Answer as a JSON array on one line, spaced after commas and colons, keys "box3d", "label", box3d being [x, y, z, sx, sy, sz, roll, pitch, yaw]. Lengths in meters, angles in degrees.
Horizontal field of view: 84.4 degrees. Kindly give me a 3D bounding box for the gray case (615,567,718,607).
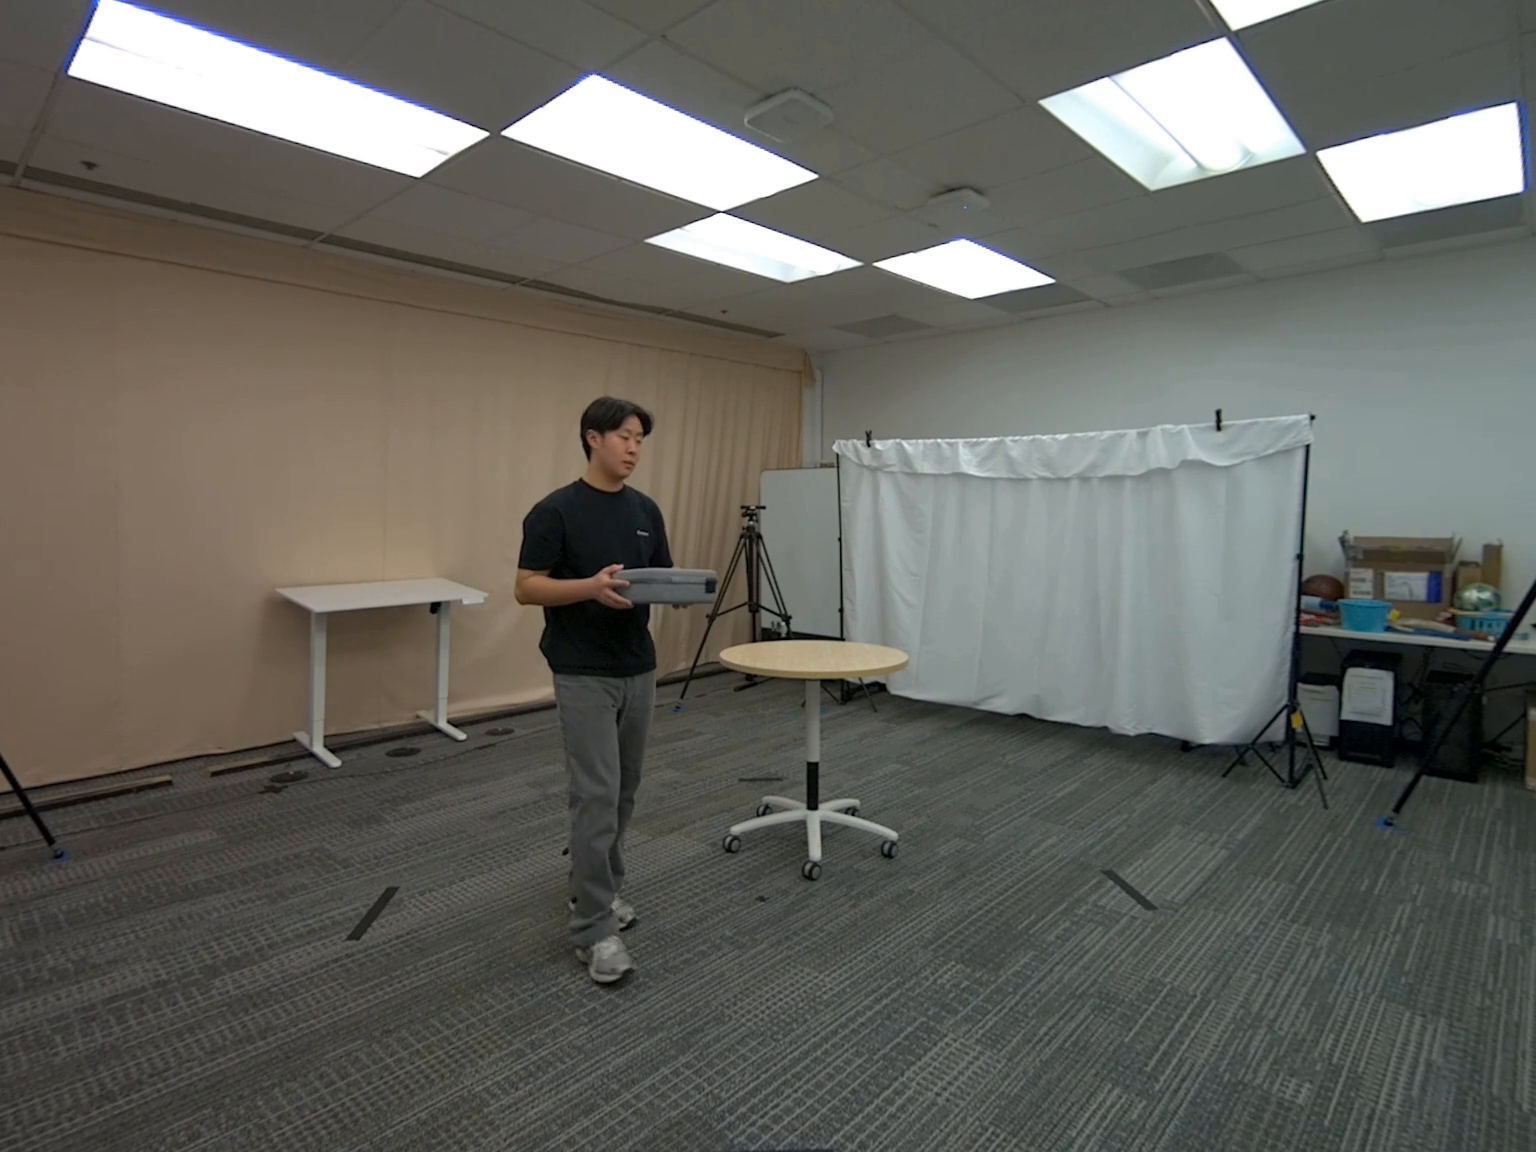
[{"box3d": [-0.315, 0.033, 2.546, 0.295, 0.103, 0.256, -1, -1, 29], "label": "gray case"}]
